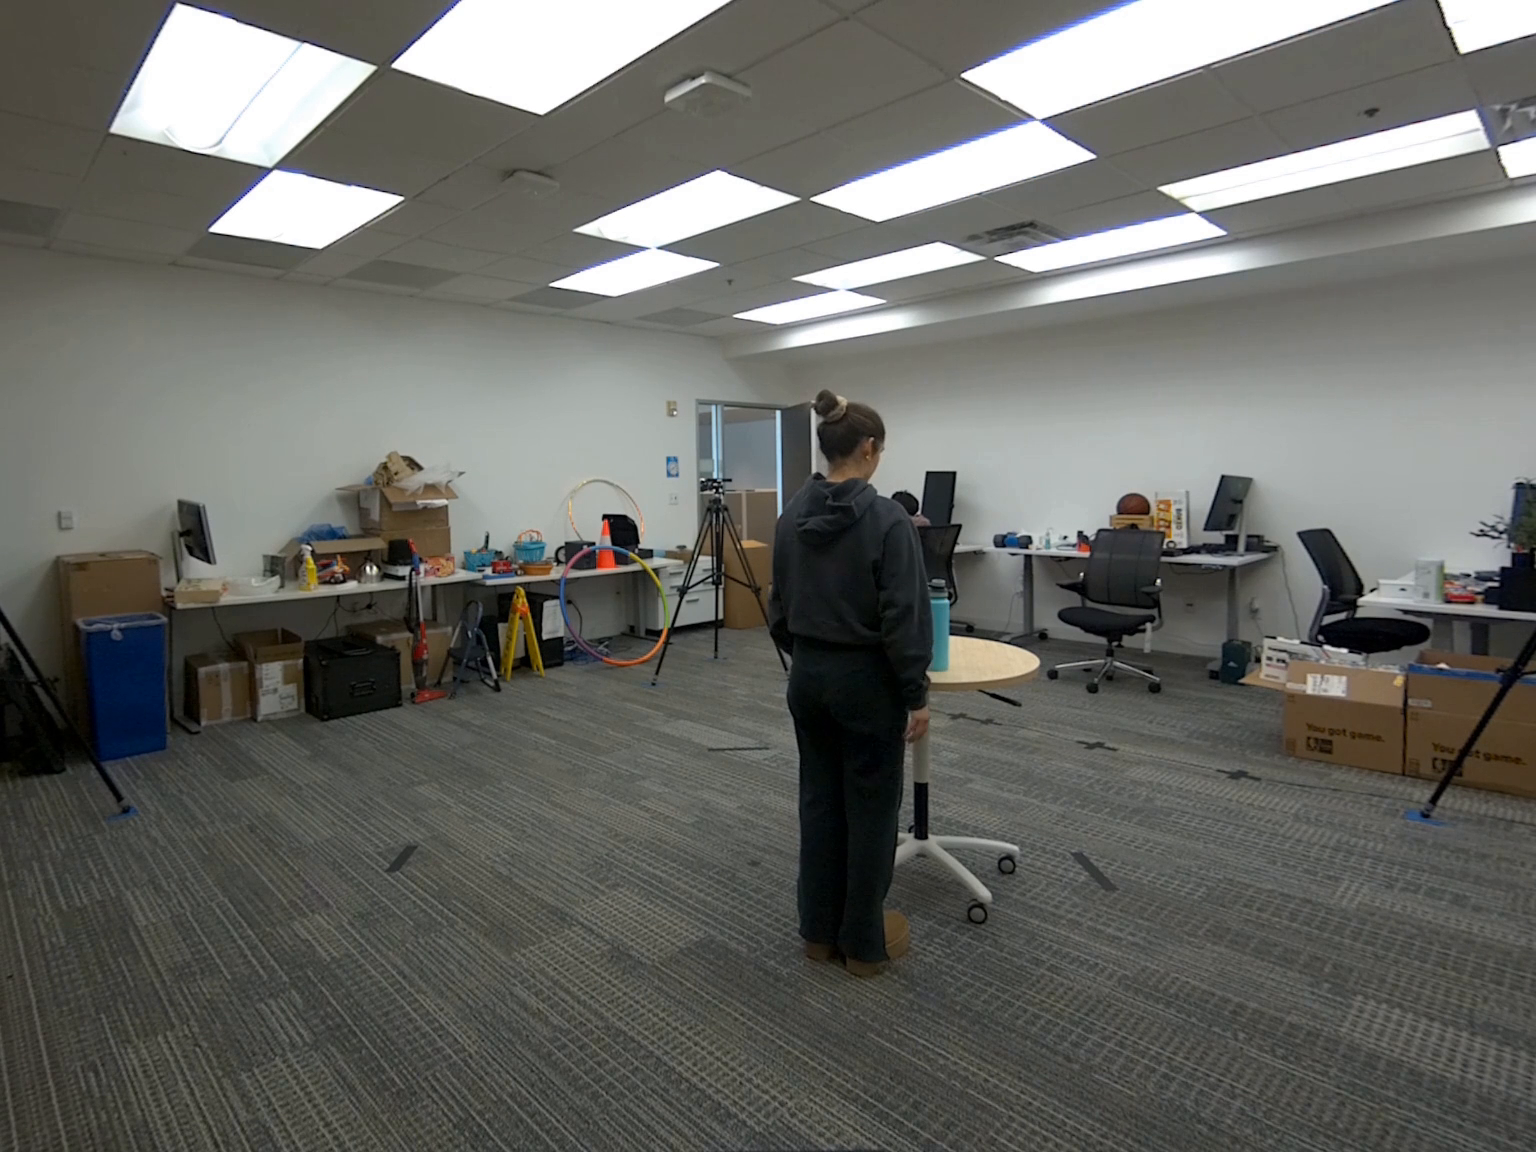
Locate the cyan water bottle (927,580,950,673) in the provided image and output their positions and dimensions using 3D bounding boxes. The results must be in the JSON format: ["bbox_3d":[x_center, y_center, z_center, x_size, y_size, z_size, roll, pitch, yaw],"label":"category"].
[{"bbox_3d":[0.532,0.158,2.705,0.092,0.282,0.093,-2,5,-1],"label":"cyan water bottle"}]
